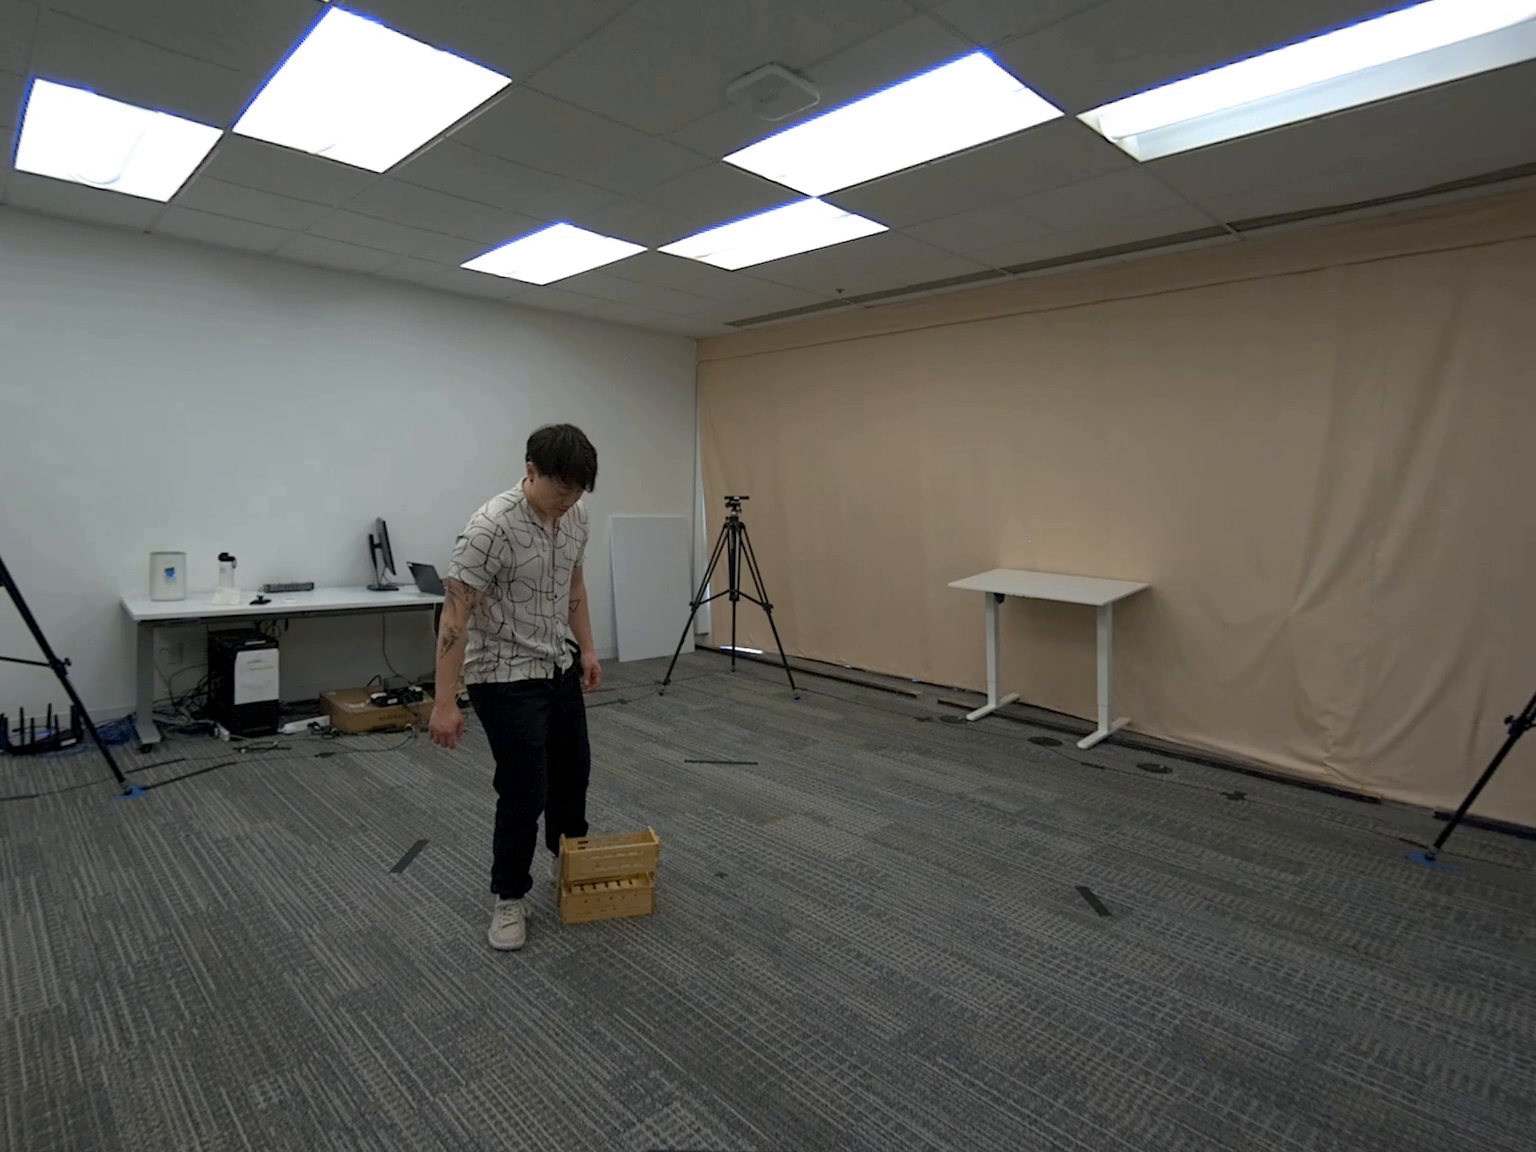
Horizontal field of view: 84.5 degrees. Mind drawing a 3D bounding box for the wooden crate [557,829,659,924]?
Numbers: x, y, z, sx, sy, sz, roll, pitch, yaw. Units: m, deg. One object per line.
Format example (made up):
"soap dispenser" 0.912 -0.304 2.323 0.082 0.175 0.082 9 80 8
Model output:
"wooden crate" -0.551 0.986 2.842 0.320 0.272 0.307 0 5 -18
